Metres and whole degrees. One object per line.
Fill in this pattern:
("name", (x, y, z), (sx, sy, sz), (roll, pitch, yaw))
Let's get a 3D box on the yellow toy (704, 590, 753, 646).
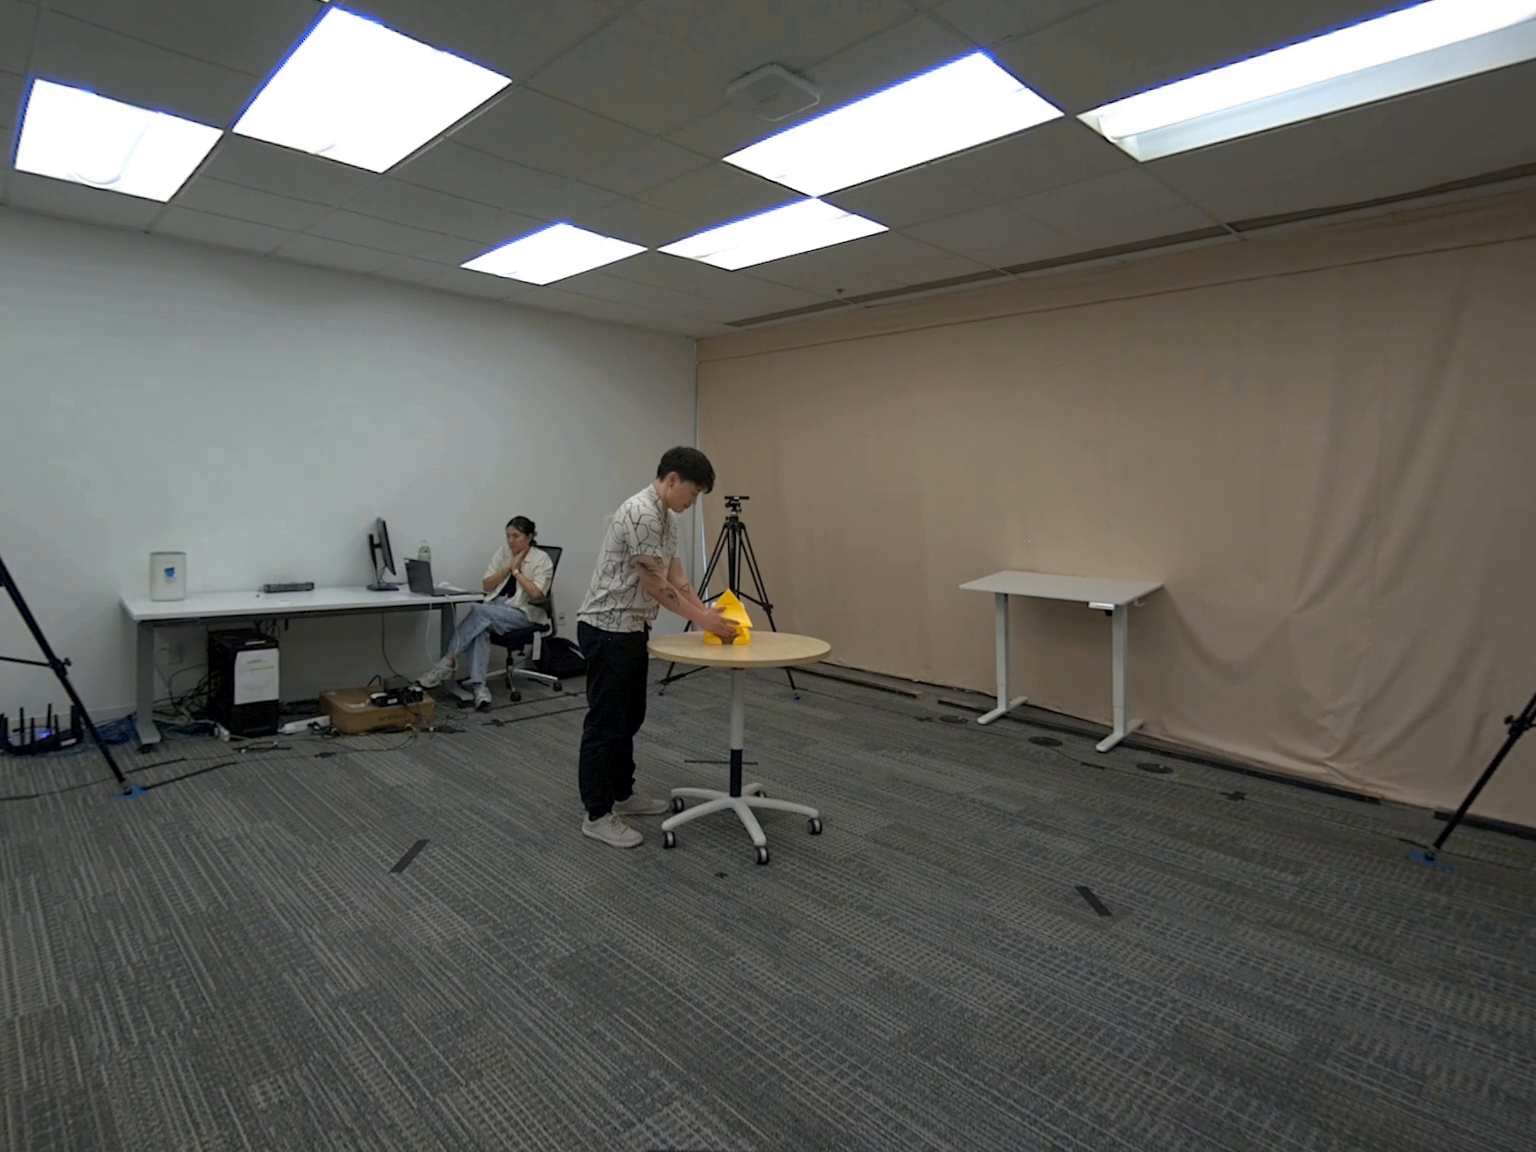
("yellow toy", (-0.187, 0.162, 3.563), (0.204, 0.230, 0.194), (0, 5, -4))
